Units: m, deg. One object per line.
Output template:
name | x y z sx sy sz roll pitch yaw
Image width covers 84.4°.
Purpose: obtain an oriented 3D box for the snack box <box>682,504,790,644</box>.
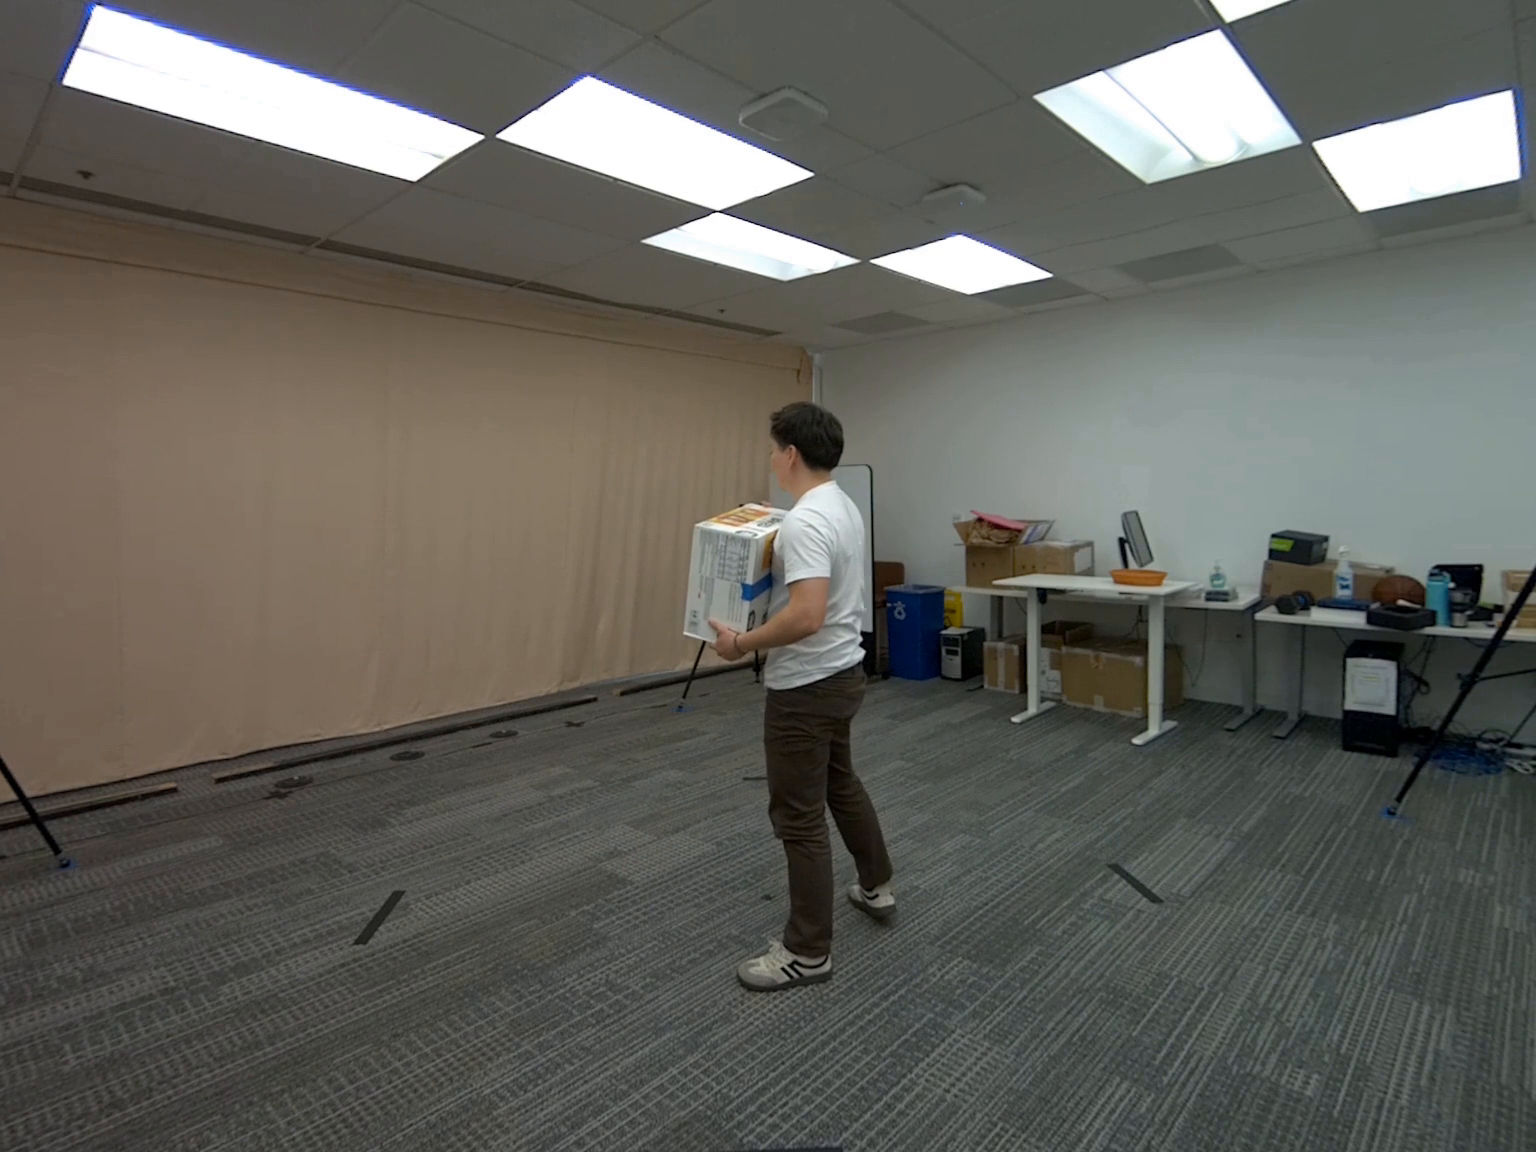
snack box | -0.062 -0.010 2.589 0.211 0.338 0.398 12 16 21
